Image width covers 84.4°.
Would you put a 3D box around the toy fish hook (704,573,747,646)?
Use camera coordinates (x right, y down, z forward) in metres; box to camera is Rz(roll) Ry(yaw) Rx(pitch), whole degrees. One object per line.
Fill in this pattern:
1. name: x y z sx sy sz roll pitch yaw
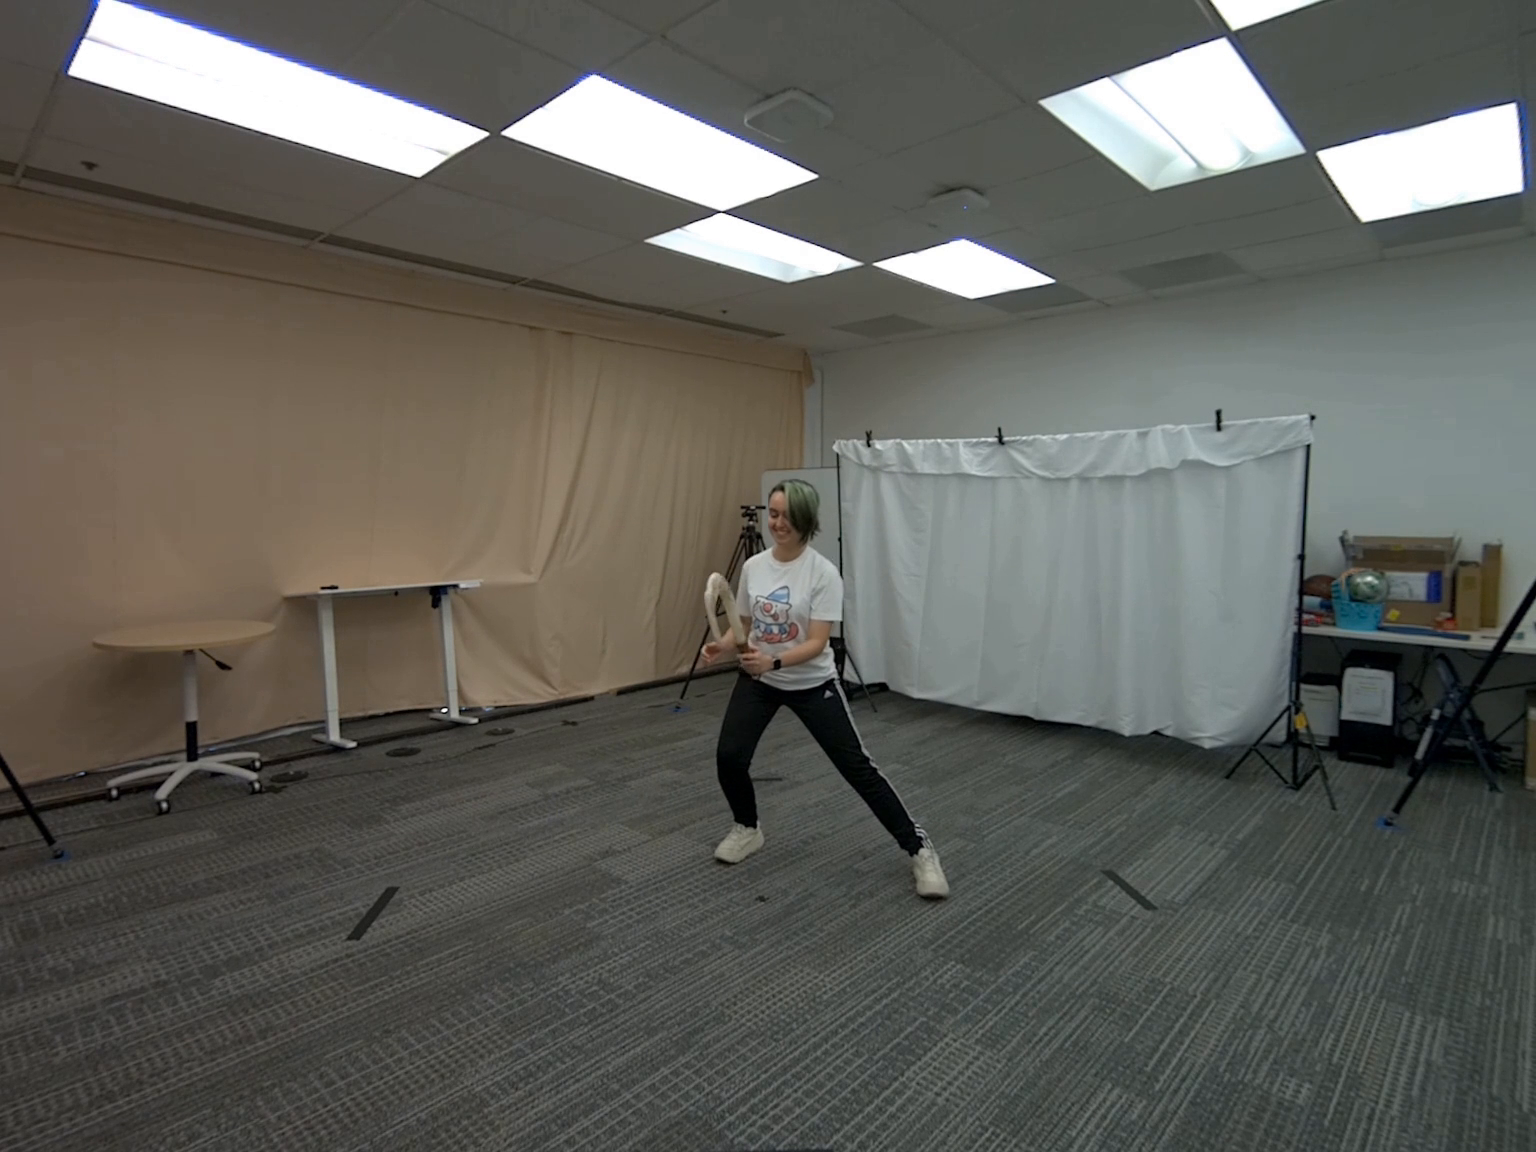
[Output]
1. toy fish hook: -0.117 0.215 2.855 0.049 0.492 0.226 -4 40 23
